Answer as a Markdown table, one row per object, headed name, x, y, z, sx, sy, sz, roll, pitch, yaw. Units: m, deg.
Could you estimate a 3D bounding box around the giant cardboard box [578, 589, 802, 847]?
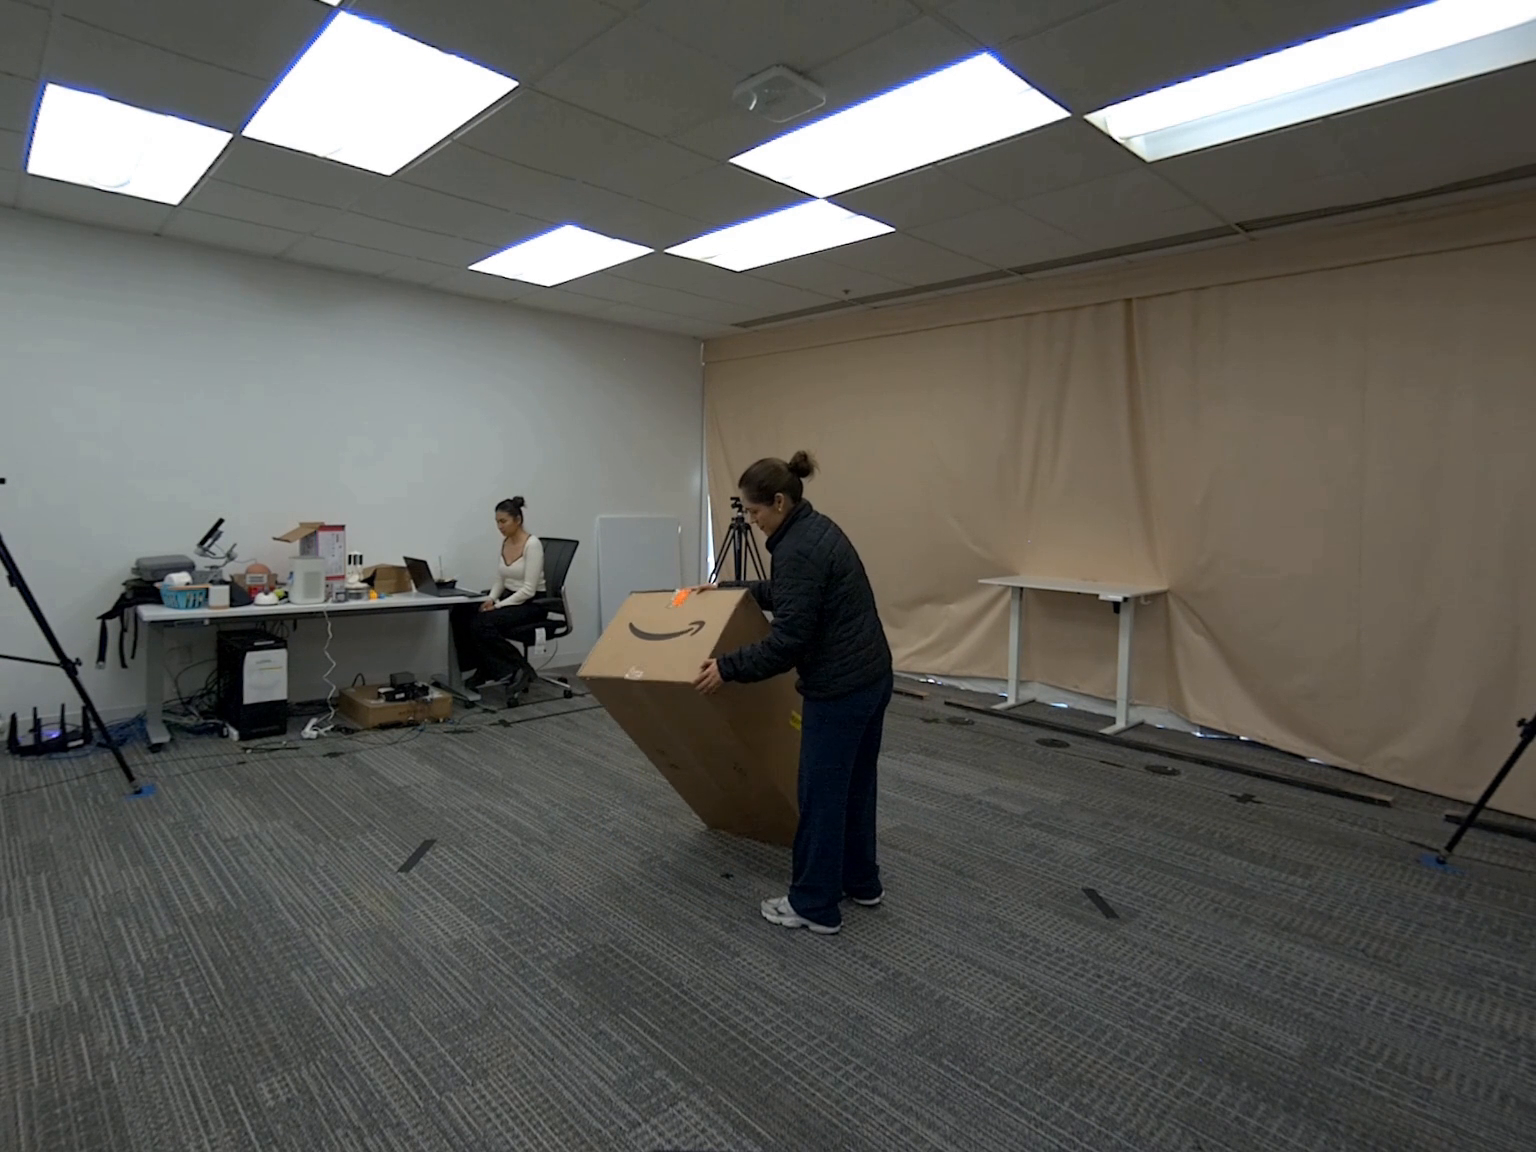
| name | x | y | z | sx | sy | sz | roll | pitch | yaw |
| --- | --- | --- | --- | --- | --- | --- | --- | --- | --- |
| giant cardboard box | -0.166 | 0.560 | 3.245 | 0.590 | 0.997 | 0.429 | -2 | 43 | 37 |
